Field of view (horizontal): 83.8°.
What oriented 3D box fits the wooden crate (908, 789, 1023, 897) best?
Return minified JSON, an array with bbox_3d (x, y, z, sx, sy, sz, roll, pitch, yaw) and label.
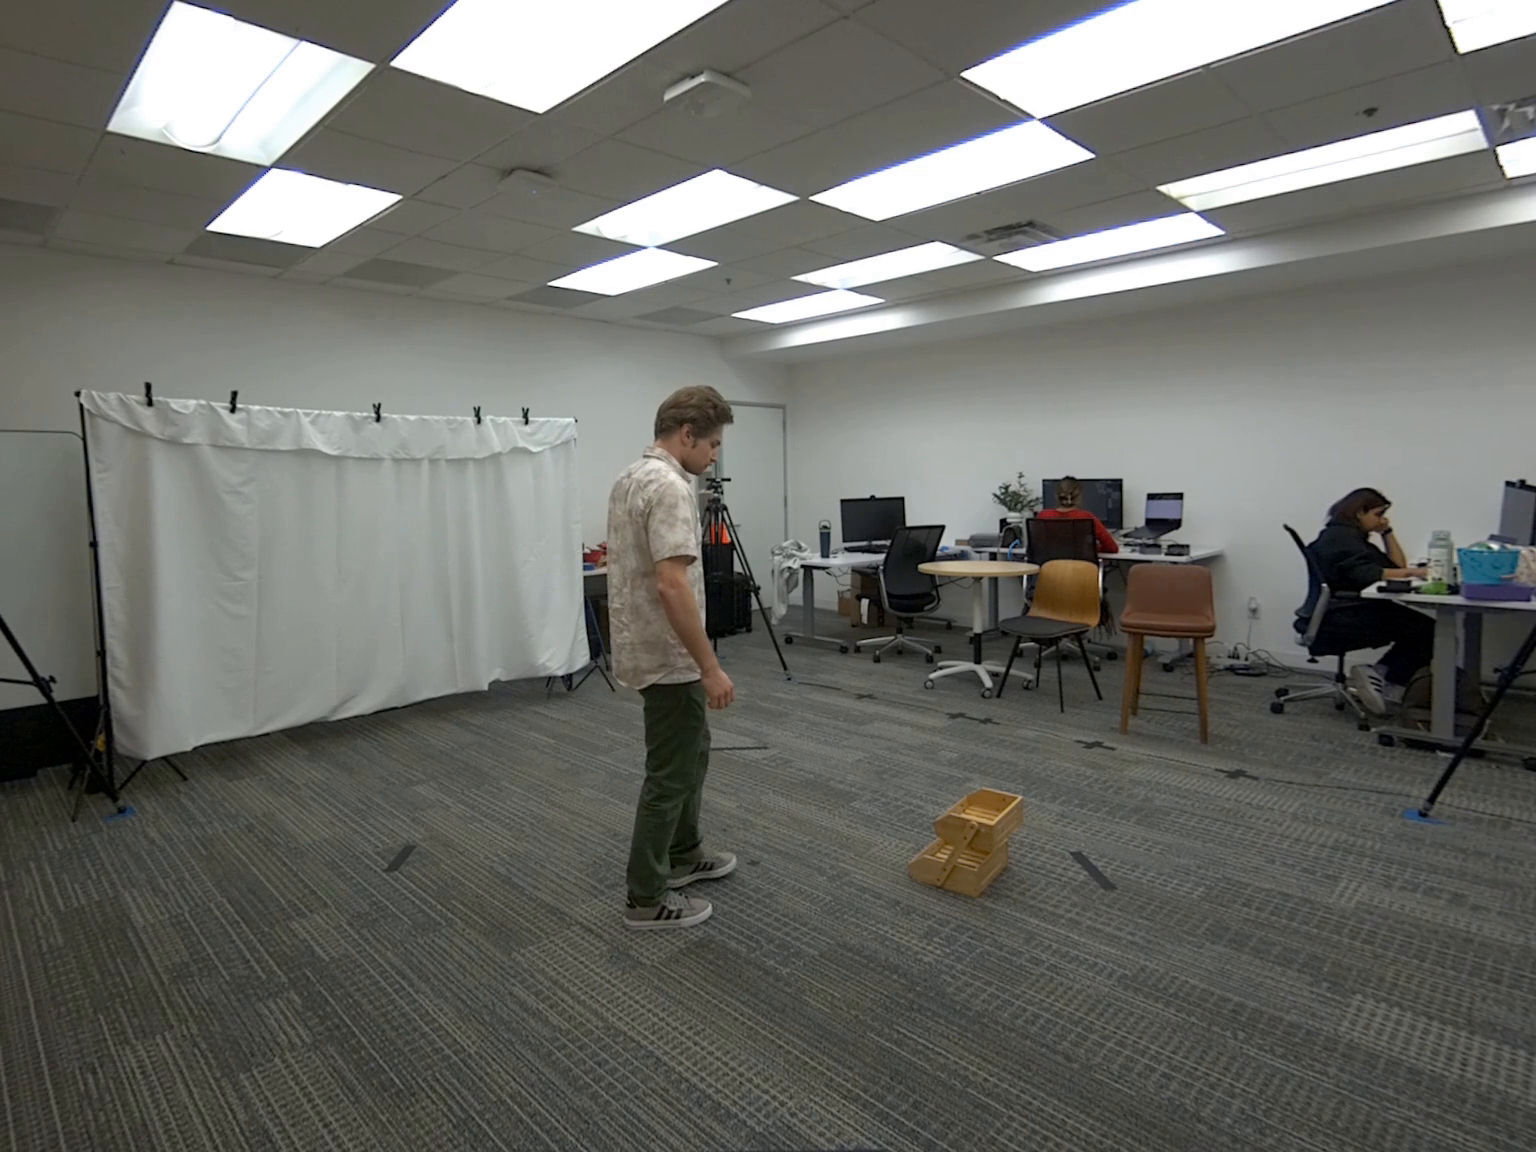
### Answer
[{"bbox_3d":[0.693,0.909,2.990,0.311,0.272,0.316,3,7,35],"label":"wooden crate"}]
